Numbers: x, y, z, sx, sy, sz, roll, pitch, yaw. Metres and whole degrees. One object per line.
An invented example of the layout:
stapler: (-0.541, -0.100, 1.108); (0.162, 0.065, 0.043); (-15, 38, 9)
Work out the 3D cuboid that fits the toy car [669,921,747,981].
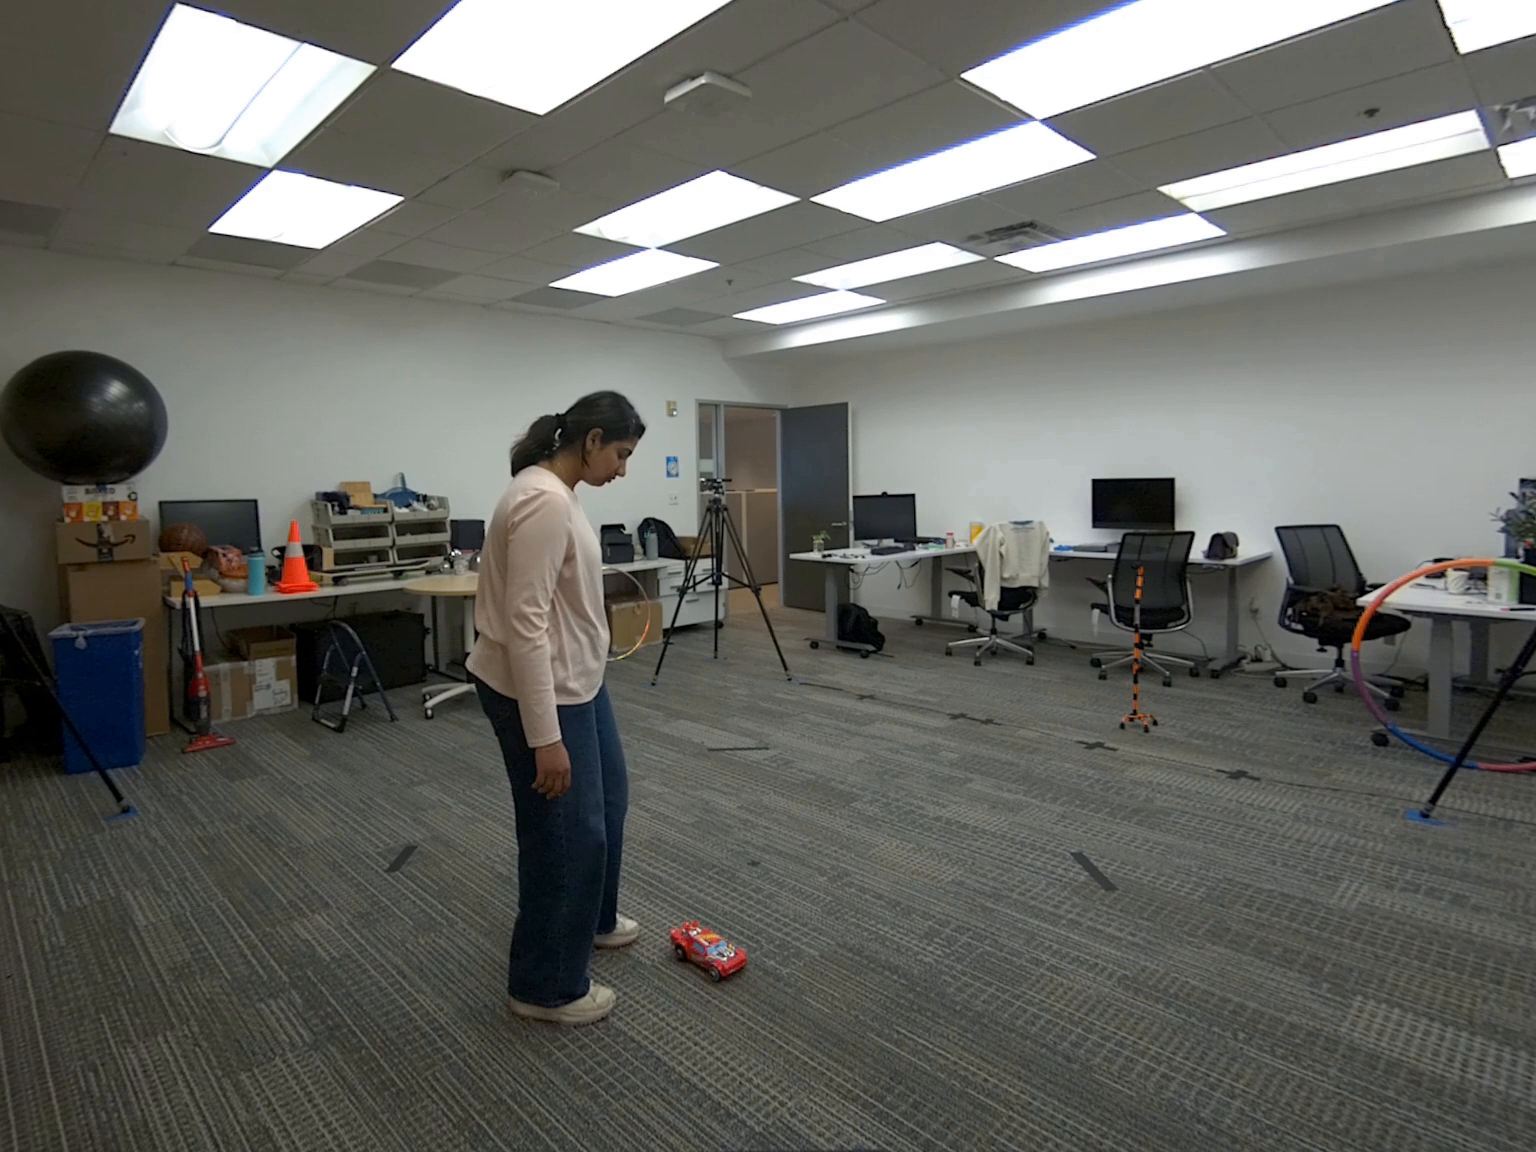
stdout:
toy car: (-0.176, 1.084, 2.482); (0.127, 0.082, 0.264); (-7, 19, -43)
